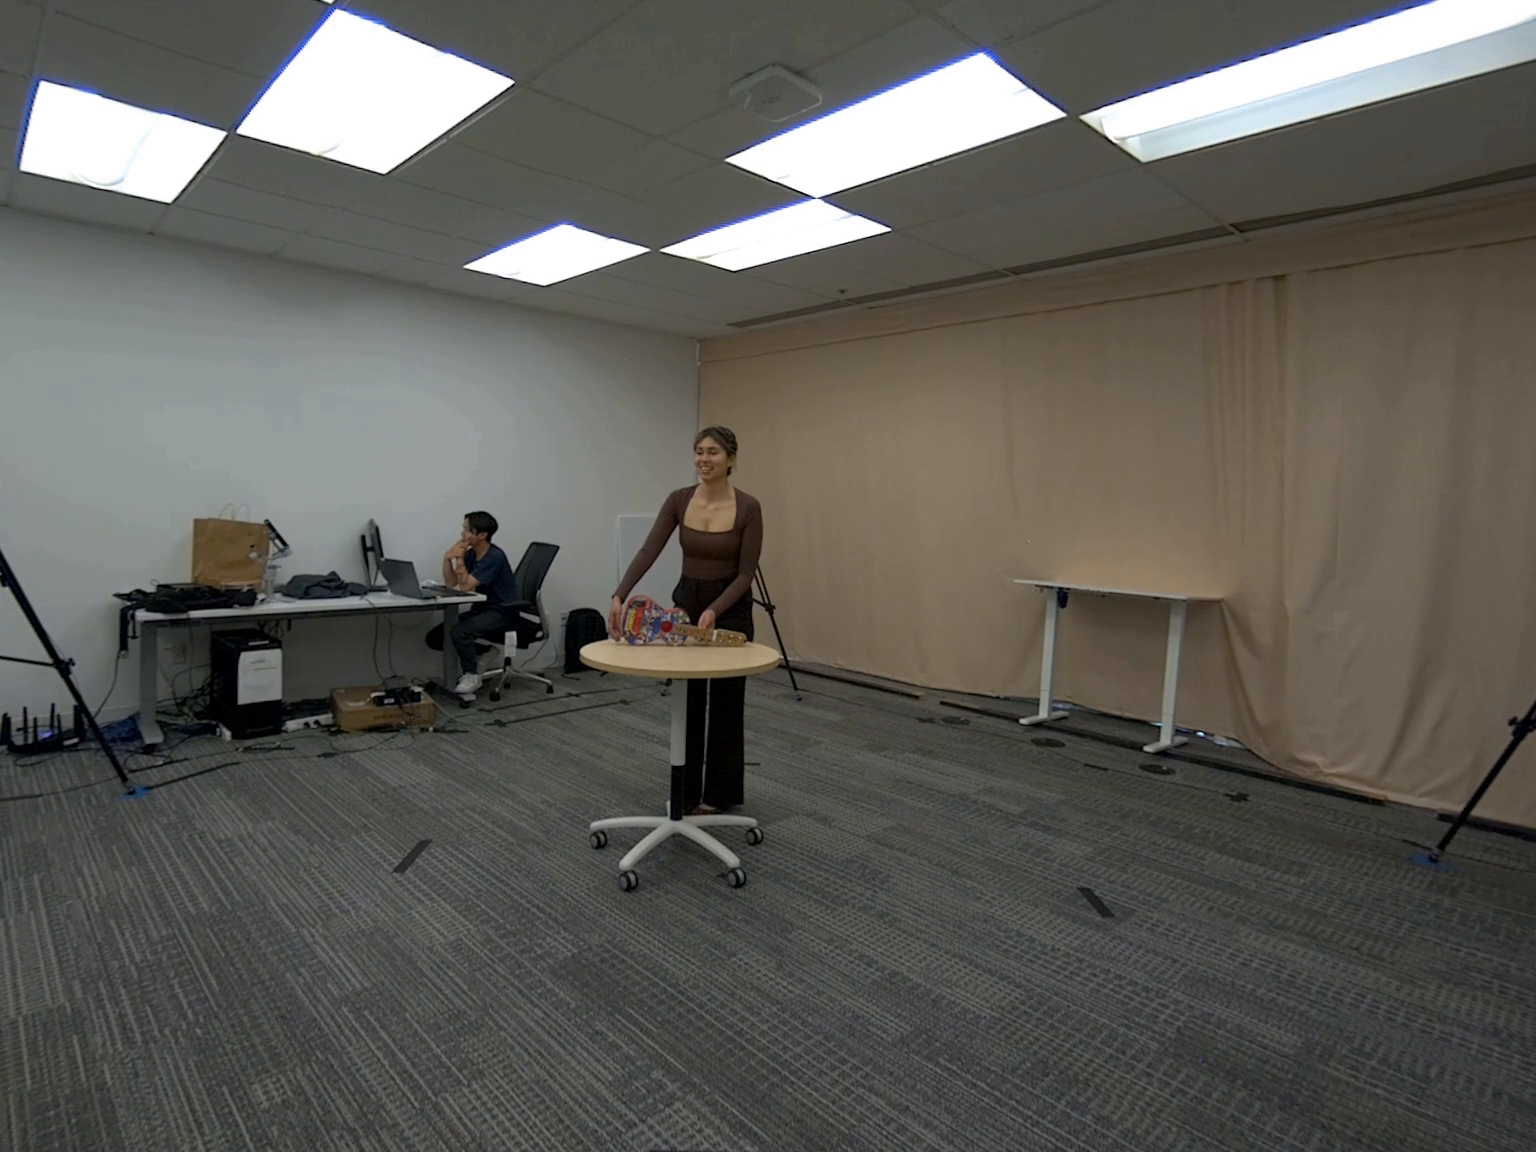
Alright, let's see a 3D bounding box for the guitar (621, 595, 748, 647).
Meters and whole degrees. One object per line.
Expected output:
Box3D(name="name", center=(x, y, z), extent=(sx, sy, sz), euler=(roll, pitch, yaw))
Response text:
Box3D(name="guitar", center=(-0.363, 0.227, 3.379), extent=(0.494, 0.193, 0.071), euler=(15, -1, -8))
